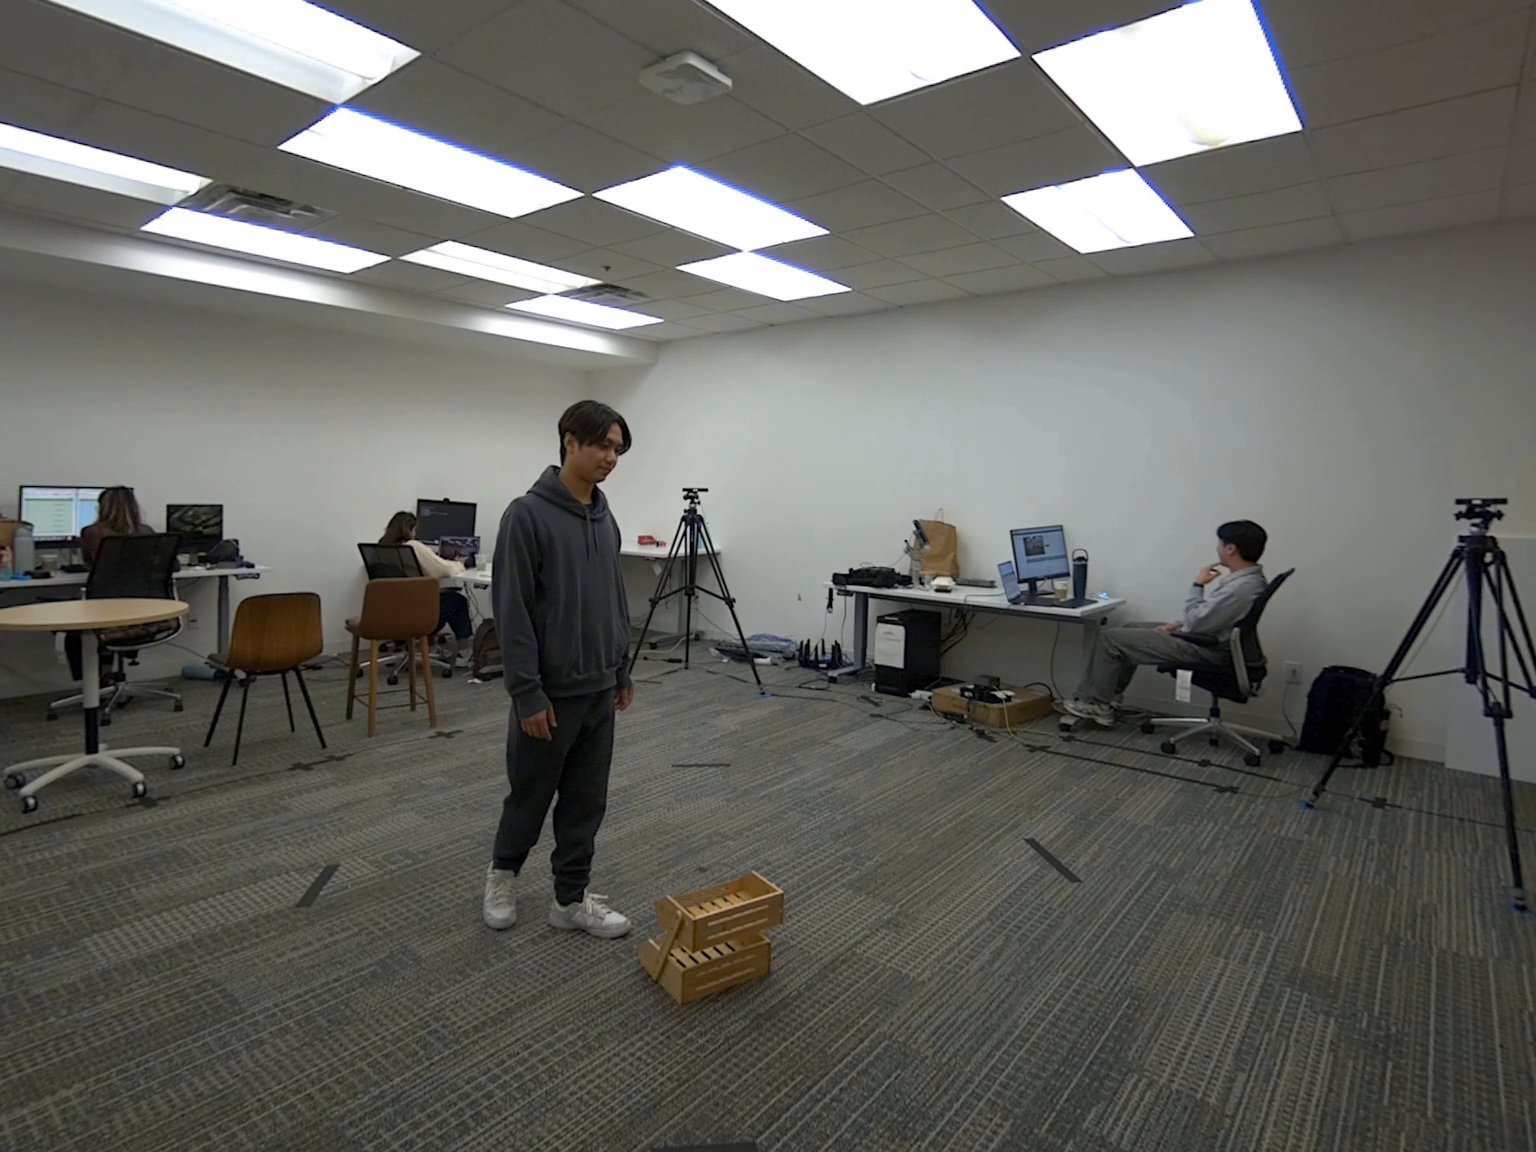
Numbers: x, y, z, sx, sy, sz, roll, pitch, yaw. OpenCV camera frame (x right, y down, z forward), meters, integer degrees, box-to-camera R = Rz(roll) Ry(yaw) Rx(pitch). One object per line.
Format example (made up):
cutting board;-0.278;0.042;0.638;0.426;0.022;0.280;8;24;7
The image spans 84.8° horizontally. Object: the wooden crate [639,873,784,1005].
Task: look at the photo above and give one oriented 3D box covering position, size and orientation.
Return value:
wooden crate;-0.176;1.001;2.438;0.315;0.272;0.312;-2;6;-35
